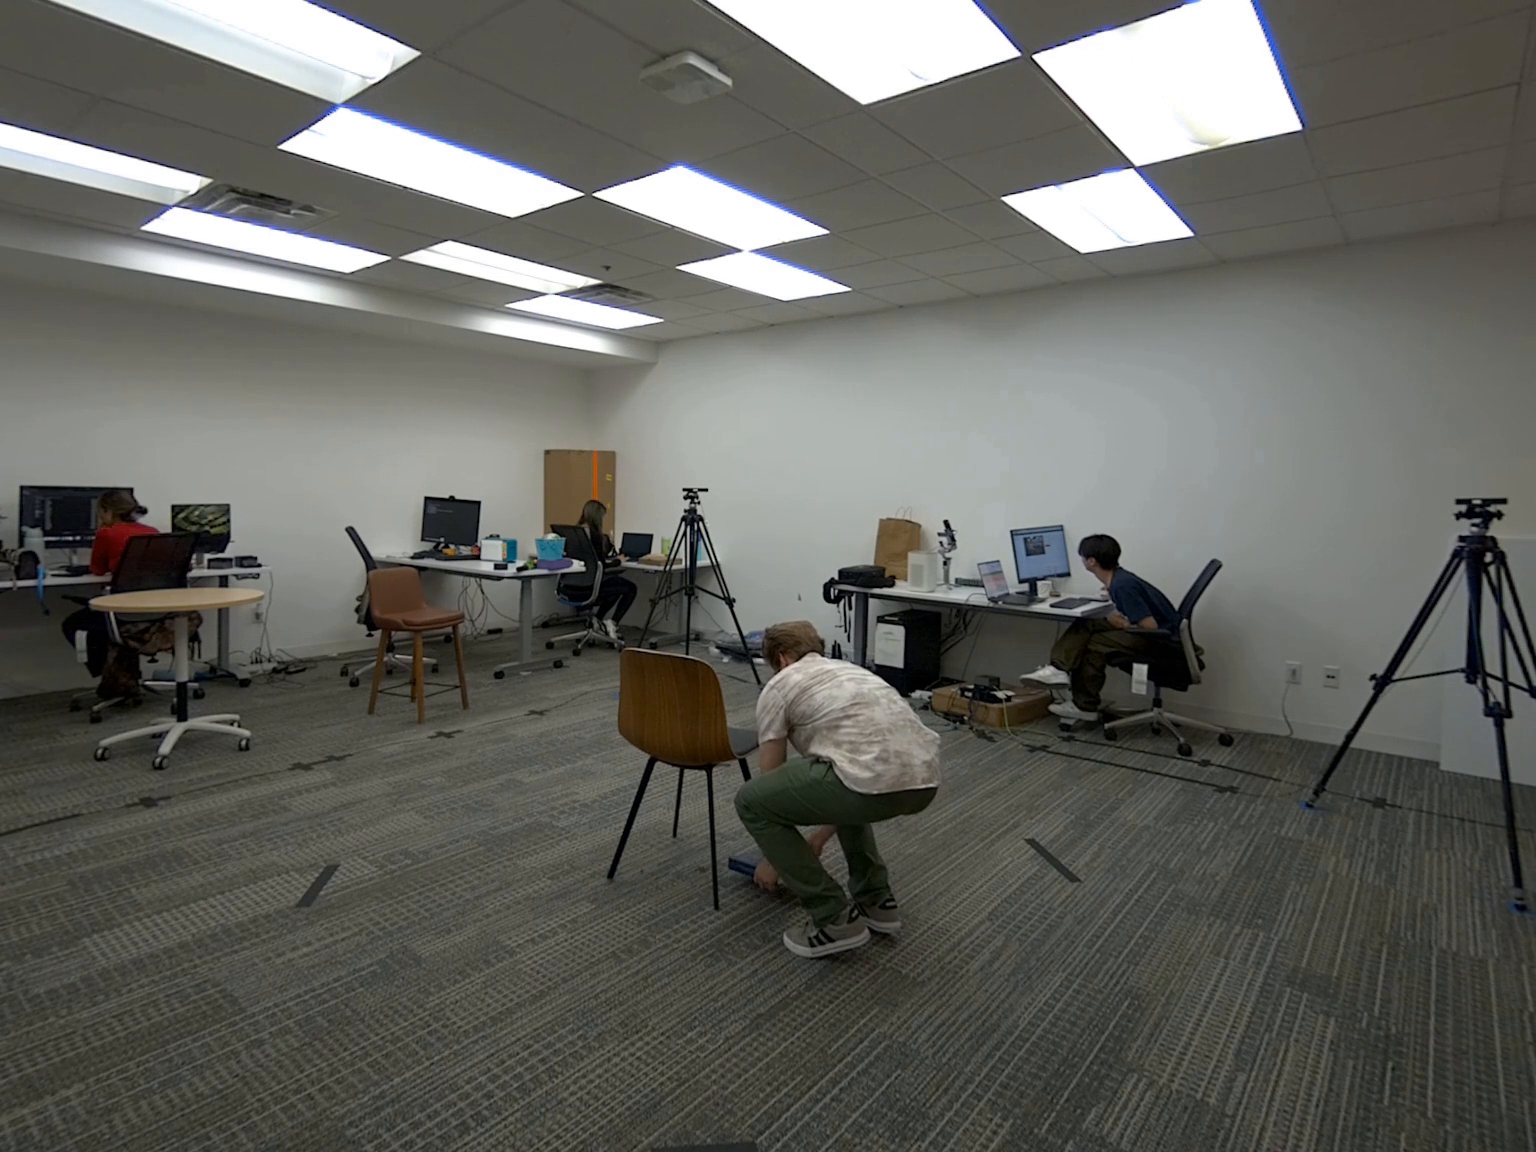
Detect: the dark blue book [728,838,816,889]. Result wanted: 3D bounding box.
[{"bbox_3d":[-0.005,1.018,2.986,0.158,0.045,0.252,6,-7,-42],"label":"dark blue book"}]
